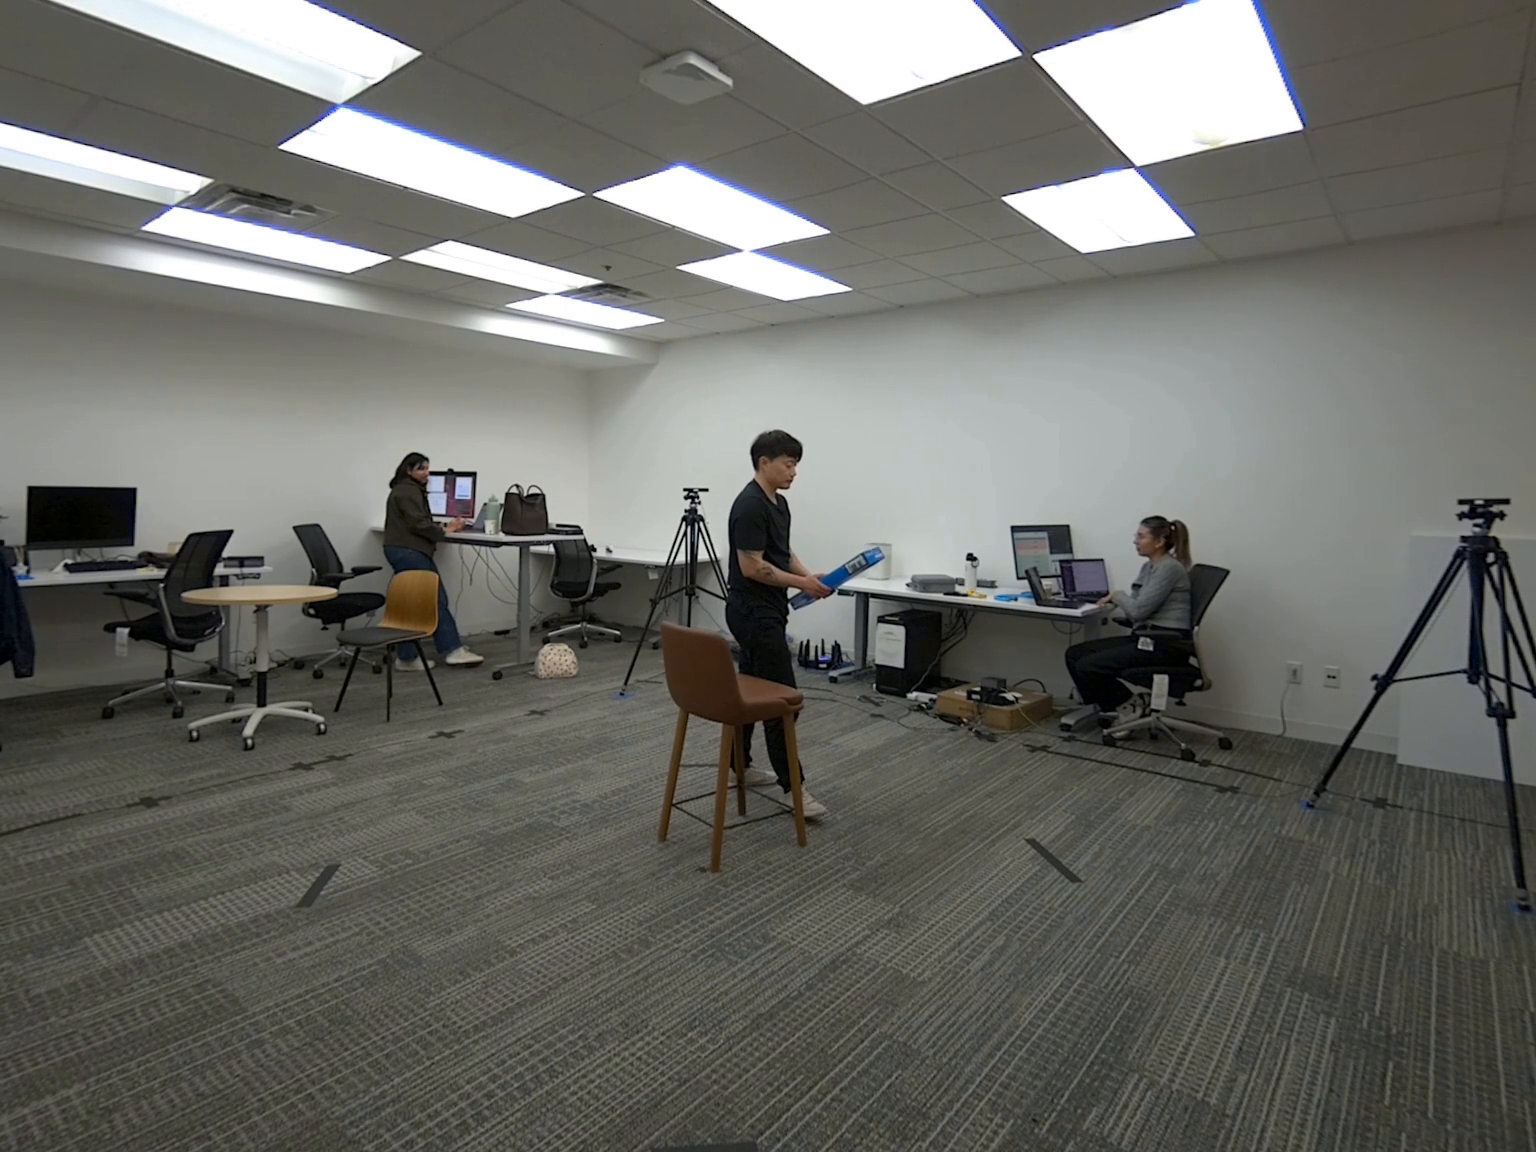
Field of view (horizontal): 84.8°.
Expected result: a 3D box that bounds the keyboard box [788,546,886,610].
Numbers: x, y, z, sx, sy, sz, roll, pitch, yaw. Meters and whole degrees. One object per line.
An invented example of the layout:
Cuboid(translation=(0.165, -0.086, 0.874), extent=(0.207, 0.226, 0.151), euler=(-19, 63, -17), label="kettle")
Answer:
Cuboid(translation=(0.298, 0.009, 3.757), extent=(0.440, 0.060, 0.172), euler=(-34, -8, 32), label="keyboard box")
